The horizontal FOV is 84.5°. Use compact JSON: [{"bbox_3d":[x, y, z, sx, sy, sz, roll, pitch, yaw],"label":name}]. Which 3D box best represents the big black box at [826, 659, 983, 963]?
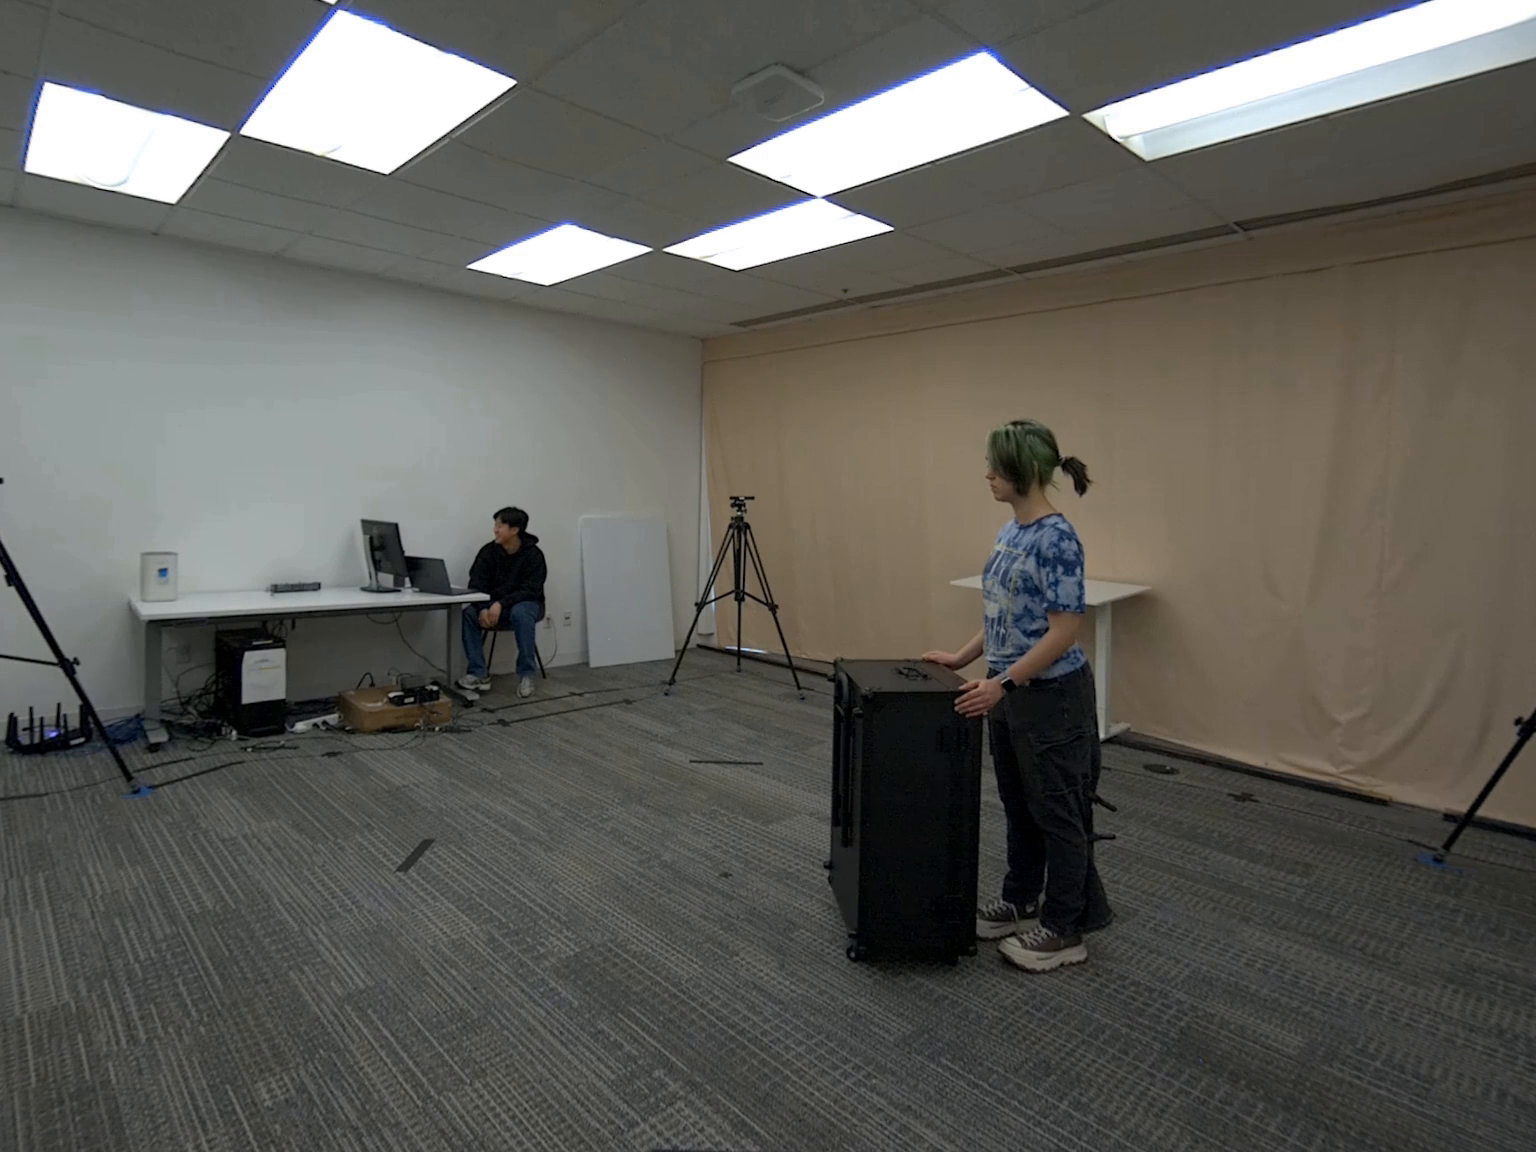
[{"bbox_3d":[0.405,0.733,2.660,0.395,0.859,0.524,0,4,-4],"label":"big black box"}]
